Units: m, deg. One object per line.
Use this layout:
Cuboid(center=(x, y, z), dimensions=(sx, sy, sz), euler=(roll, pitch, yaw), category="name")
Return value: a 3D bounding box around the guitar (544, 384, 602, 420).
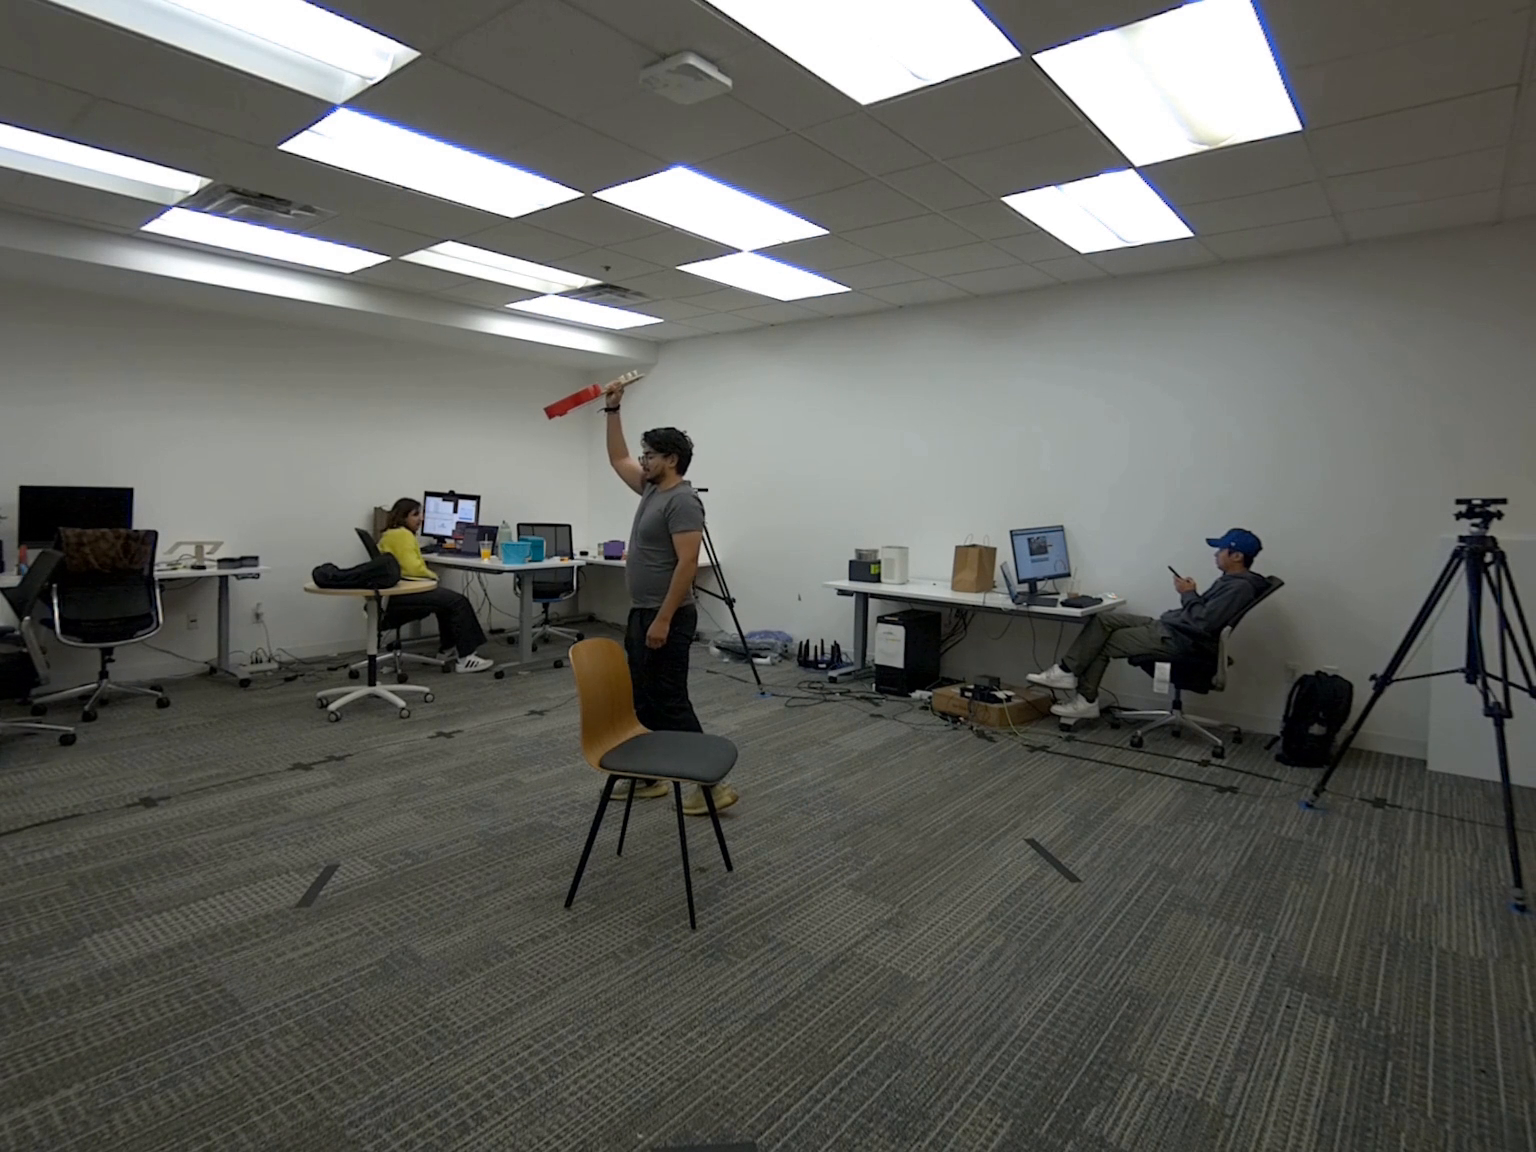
Cuboid(center=(-0.802, -0.847, 3.880), dimensions=(0.501, 0.069, 0.195), euler=(-22, 16, 12), category="guitar")
